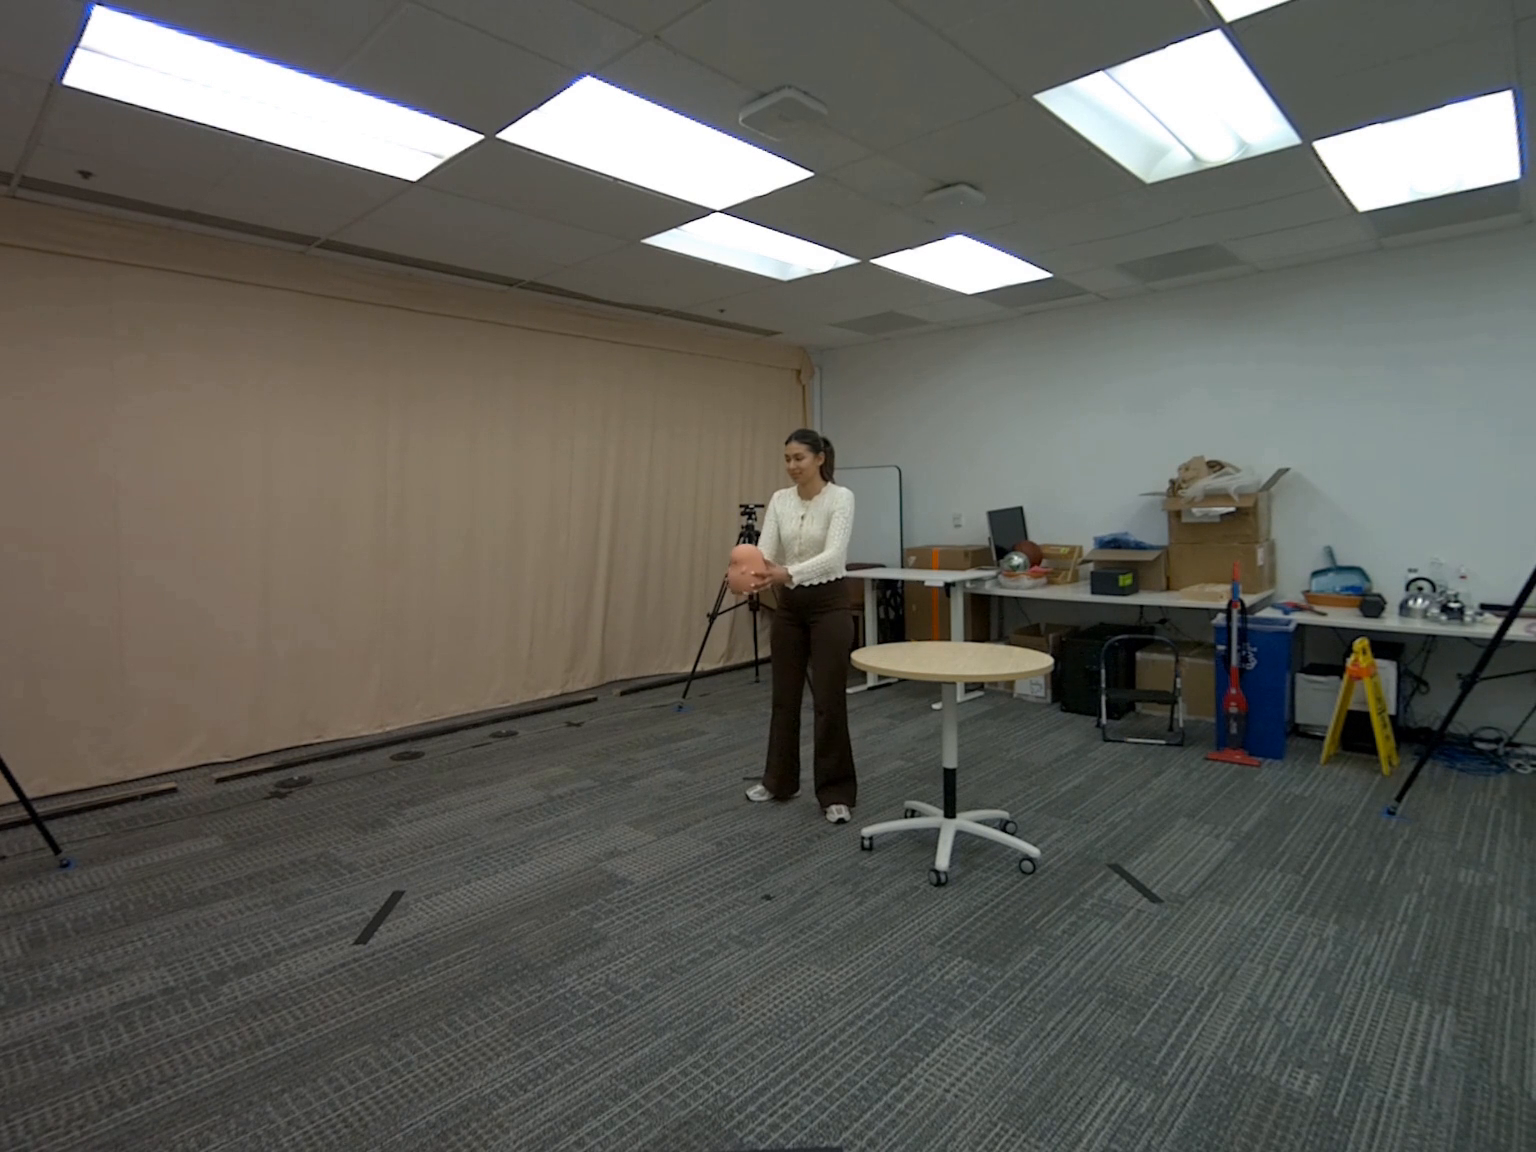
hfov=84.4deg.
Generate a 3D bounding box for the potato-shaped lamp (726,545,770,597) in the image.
[{"bbox_3d":[-0.076,-0.030,3.421,0.168,0.196,0.169,-18,11,-29],"label":"potato-shaped lamp"}]
